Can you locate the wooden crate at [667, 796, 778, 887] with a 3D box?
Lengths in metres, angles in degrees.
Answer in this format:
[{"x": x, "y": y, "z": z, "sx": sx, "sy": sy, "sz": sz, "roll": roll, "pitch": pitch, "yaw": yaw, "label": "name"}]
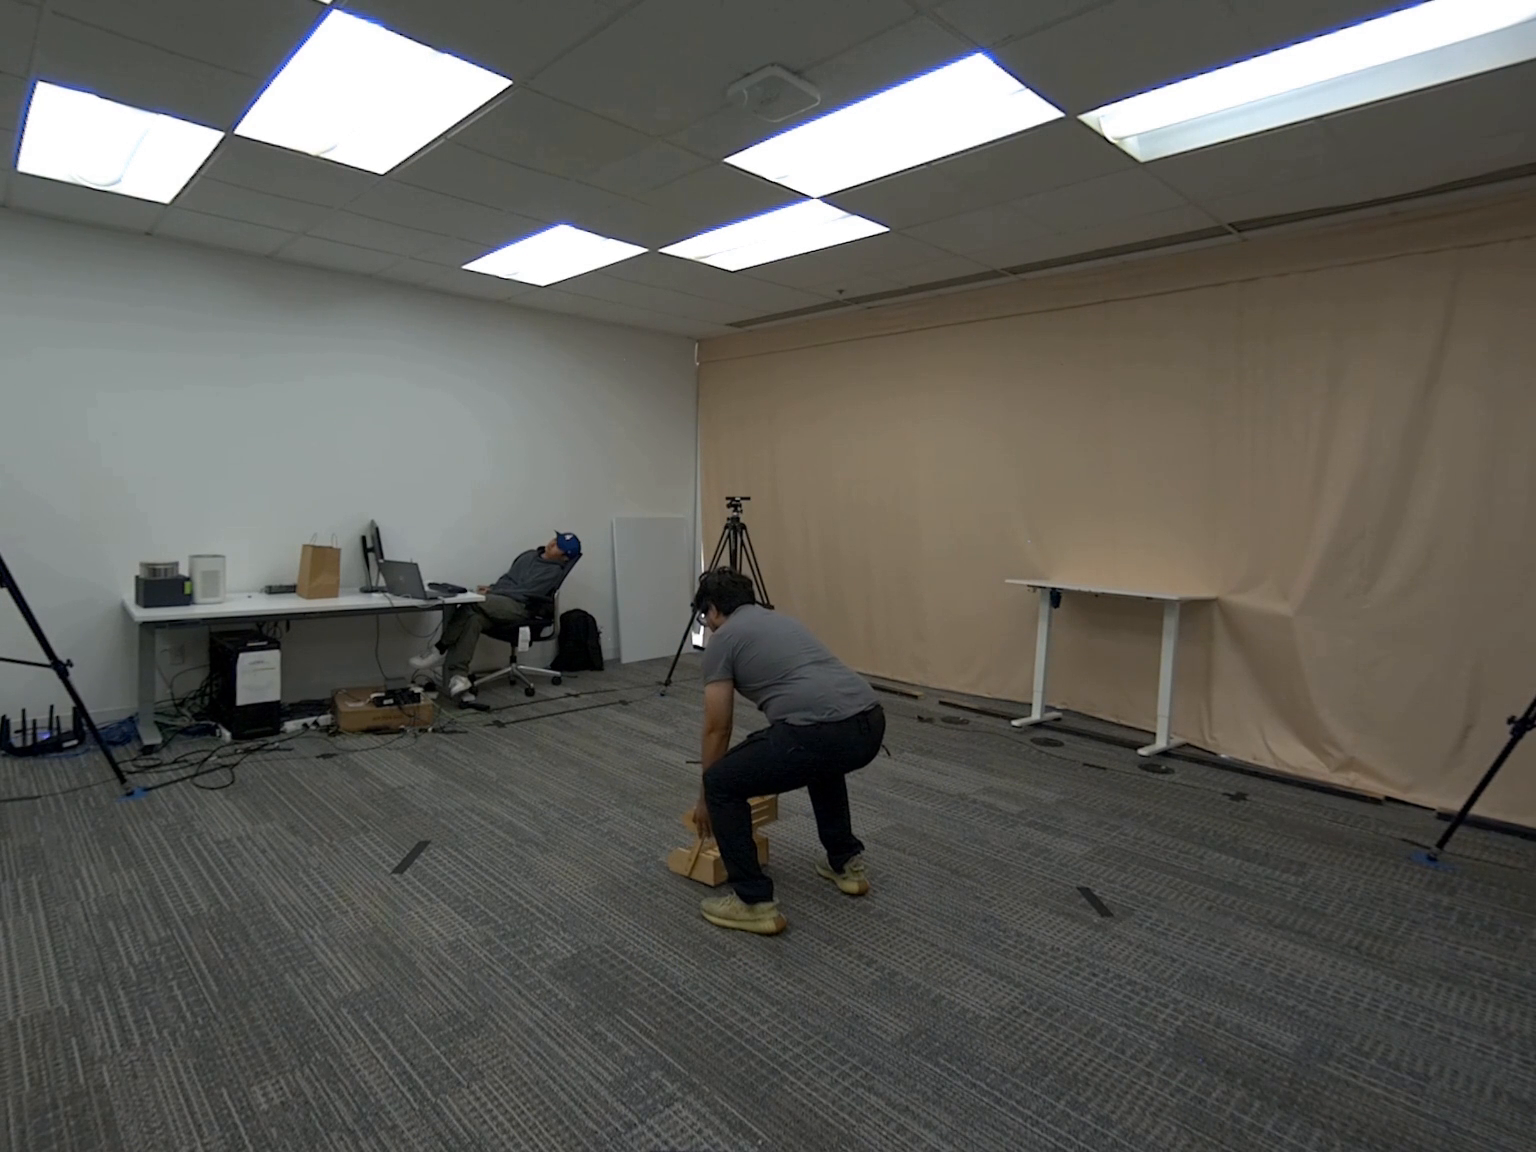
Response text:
[{"x": -0.180, "y": 0.959, "z": 3.163, "sx": 0.309, "sy": 0.273, "sz": 0.317, "roll": 0, "pitch": 3, "yaw": 41, "label": "wooden crate"}]
